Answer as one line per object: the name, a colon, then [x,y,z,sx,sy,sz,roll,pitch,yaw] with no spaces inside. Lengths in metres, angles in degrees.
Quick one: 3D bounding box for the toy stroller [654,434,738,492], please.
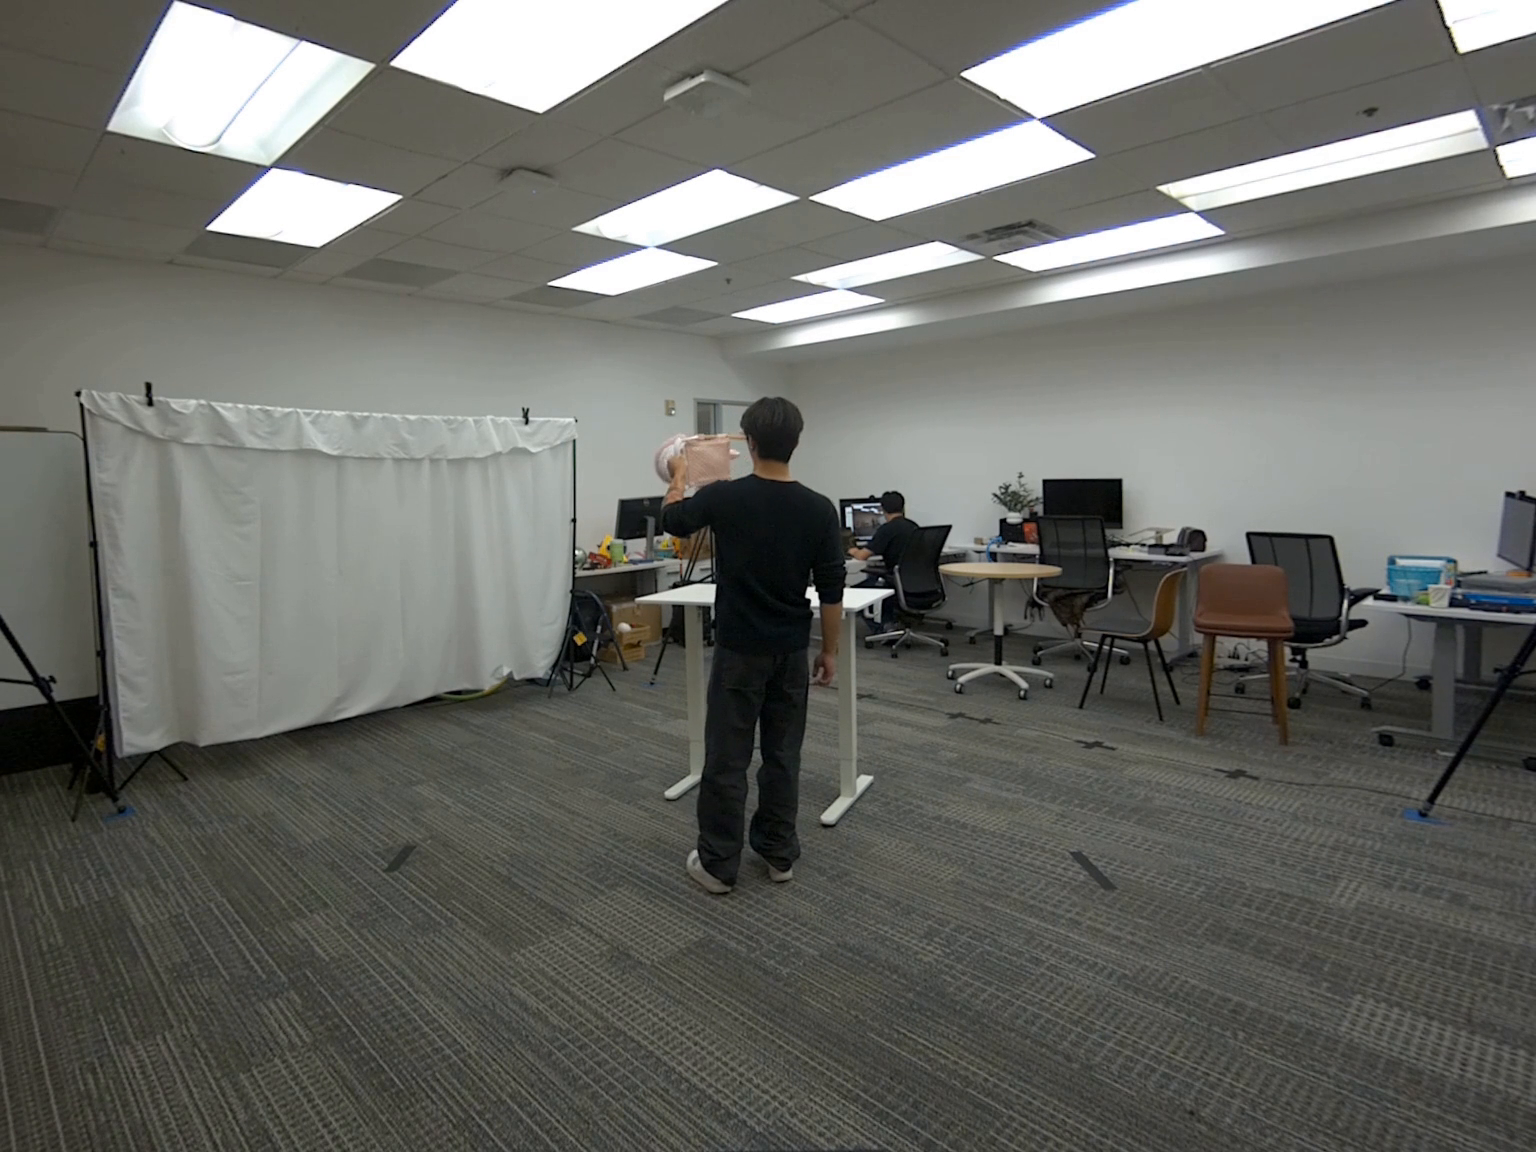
toy stroller: [-0.256,-0.483,3.590,0.523,0.278,0.353,-11,19,-36]
